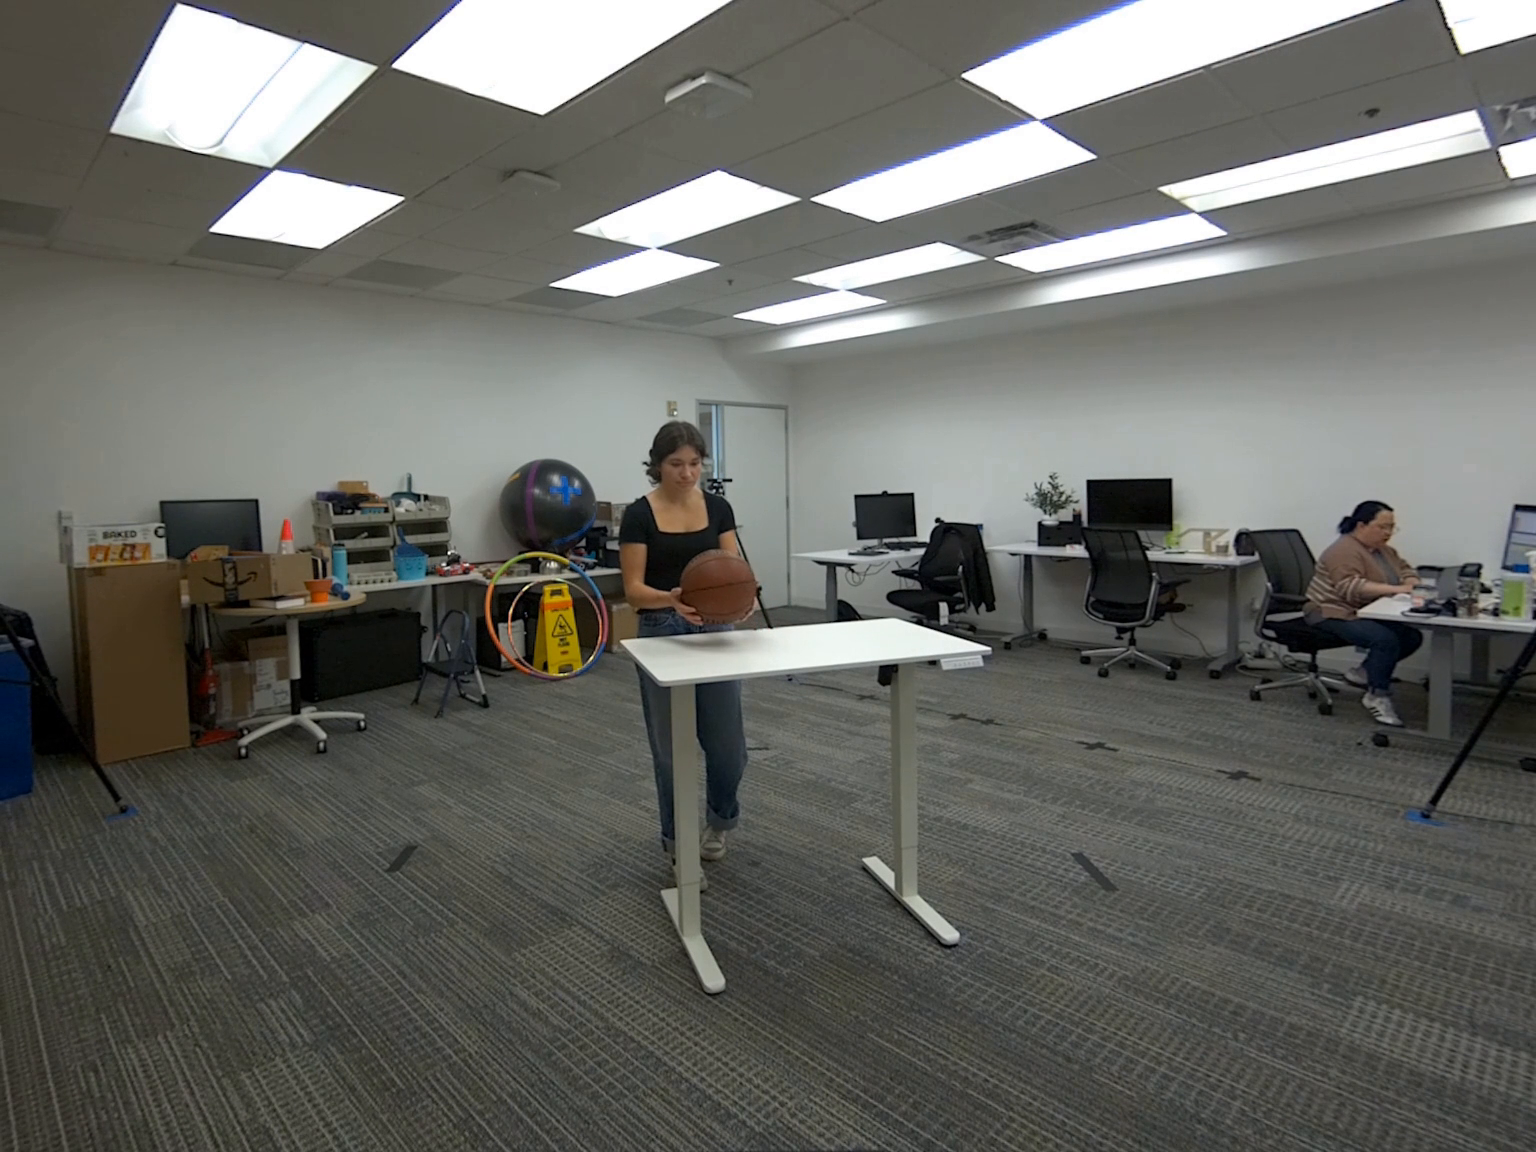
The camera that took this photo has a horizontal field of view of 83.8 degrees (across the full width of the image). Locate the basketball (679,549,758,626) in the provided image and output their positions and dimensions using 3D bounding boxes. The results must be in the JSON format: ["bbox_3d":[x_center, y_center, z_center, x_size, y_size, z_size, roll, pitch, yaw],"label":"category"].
[{"bbox_3d":[-0.157,0.037,2.666,0.236,0.235,0.237,-1,5,-2],"label":"basketball"}]
